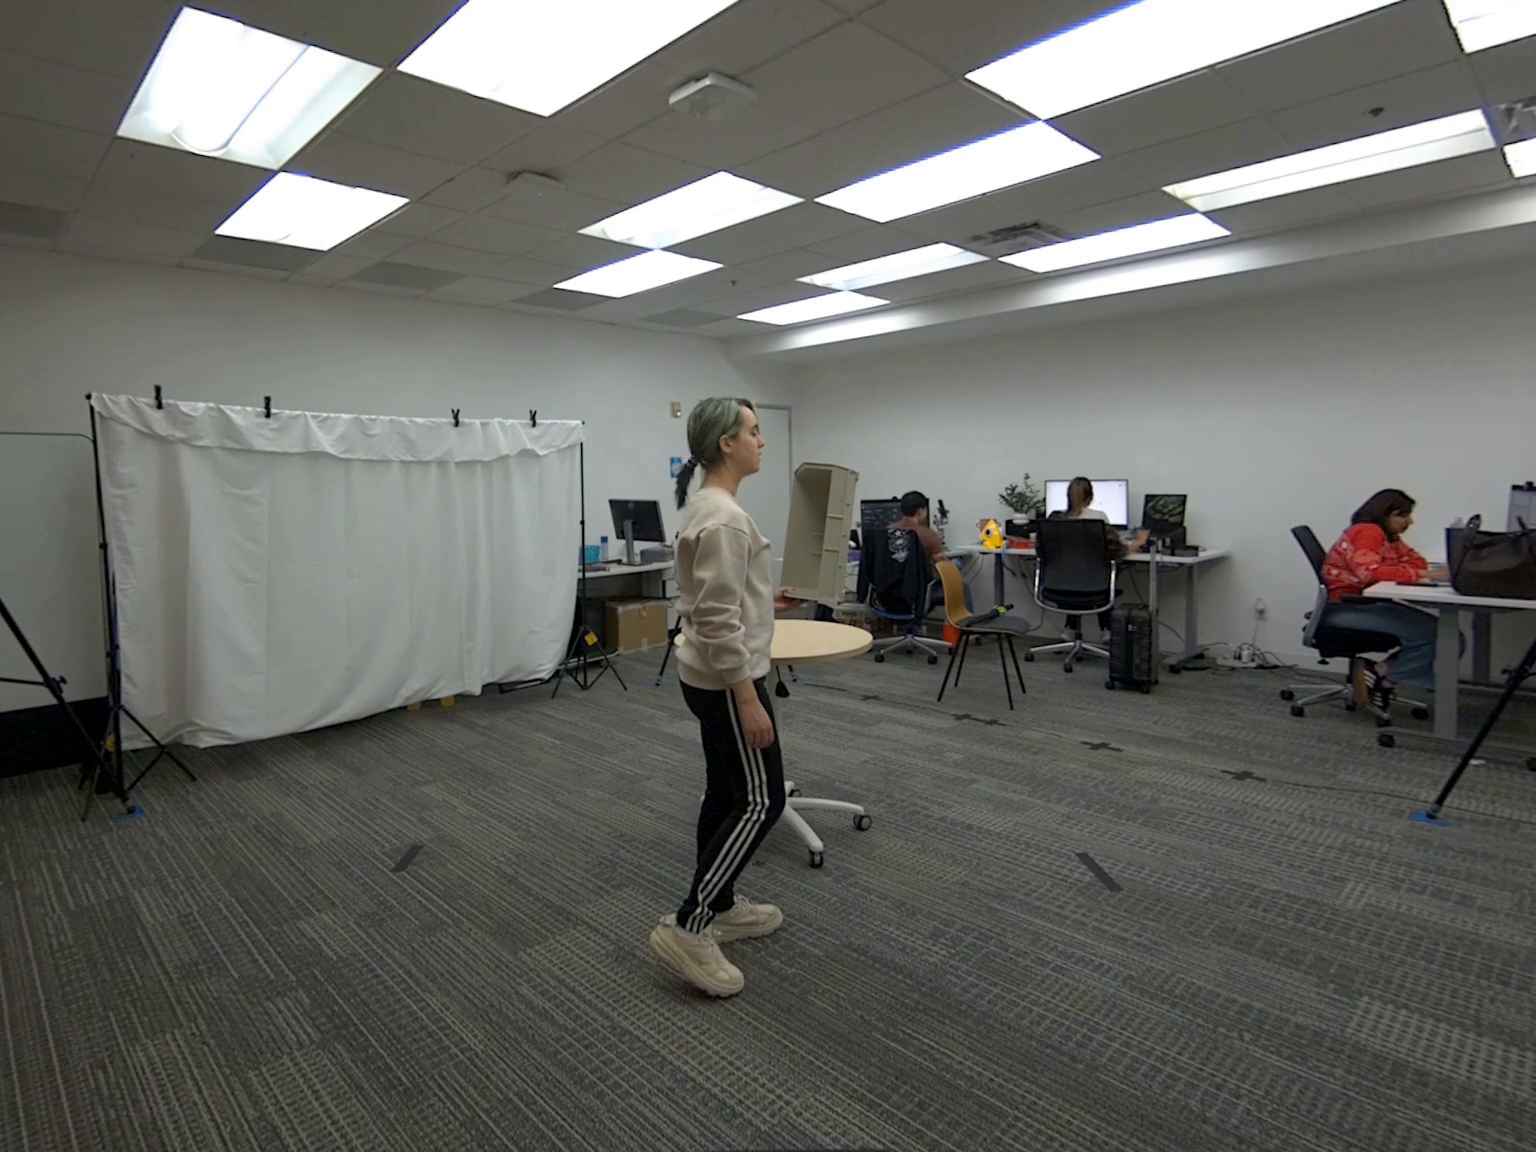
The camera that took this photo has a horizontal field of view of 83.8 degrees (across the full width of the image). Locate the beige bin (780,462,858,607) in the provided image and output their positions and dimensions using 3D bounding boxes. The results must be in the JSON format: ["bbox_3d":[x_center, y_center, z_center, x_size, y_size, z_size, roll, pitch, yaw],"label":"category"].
[{"bbox_3d":[0.154,-0.139,2.777,0.189,0.423,0.377,5,-1,-2],"label":"beige bin"}]
